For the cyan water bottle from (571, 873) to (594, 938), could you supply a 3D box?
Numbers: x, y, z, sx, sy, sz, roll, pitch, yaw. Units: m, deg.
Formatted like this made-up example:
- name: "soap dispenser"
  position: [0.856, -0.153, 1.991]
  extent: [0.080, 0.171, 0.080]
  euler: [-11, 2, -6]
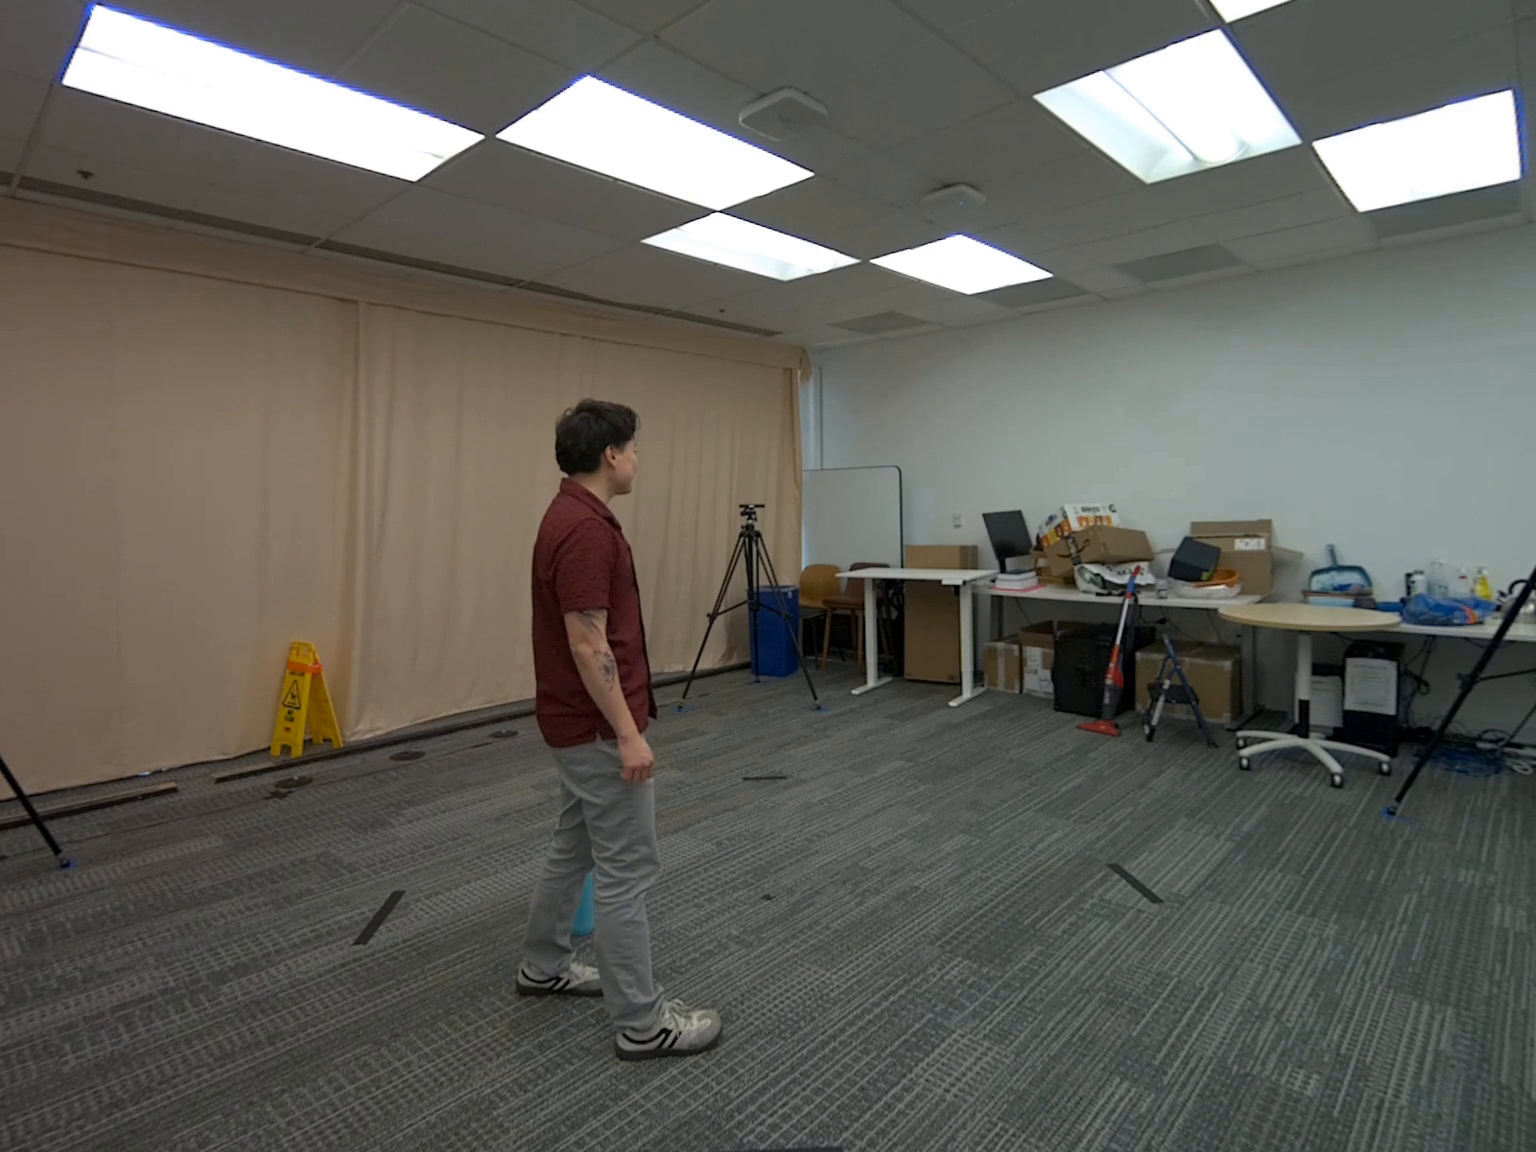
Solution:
- name: "cyan water bottle"
  position: [-0.630, 1.035, 2.777]
  extent: [0.092, 0.283, 0.092]
  euler: [-1, 2, -2]
